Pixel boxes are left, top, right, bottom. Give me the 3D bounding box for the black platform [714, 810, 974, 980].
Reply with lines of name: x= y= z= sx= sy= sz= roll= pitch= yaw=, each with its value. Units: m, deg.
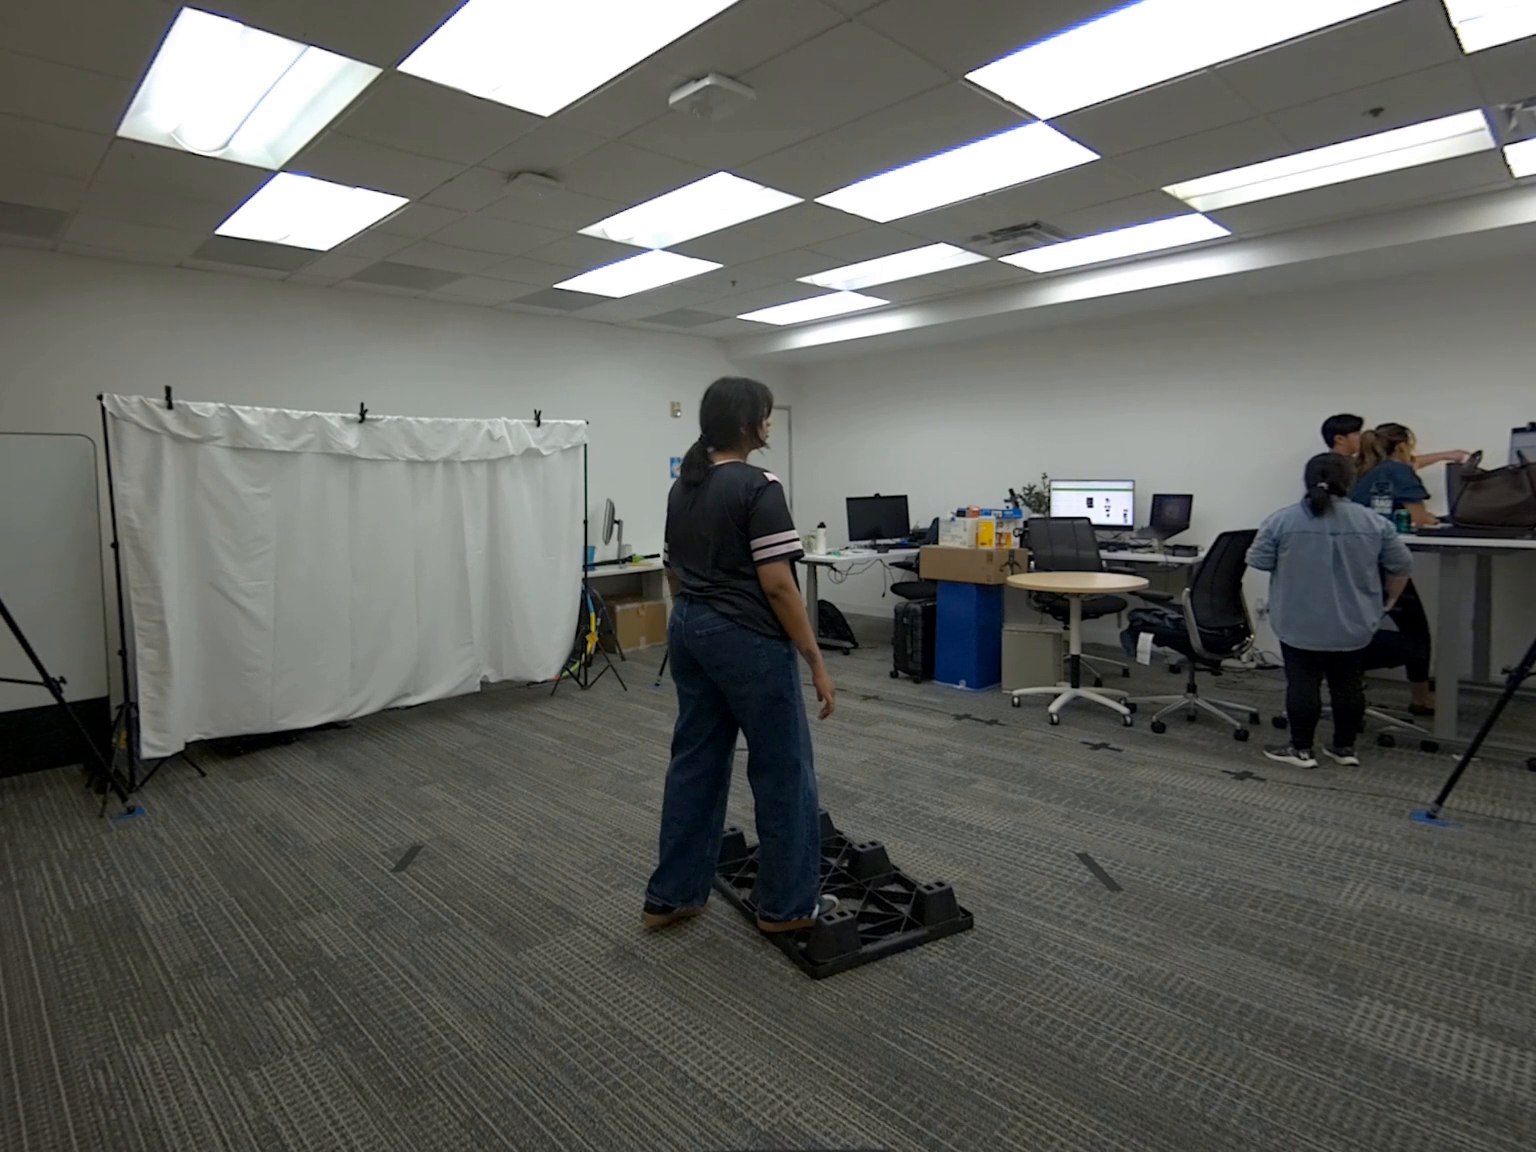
black platform: x=0.184 y=1.007 z=2.862 sx=0.591 sy=0.143 sz=0.828 roll=-4 pitch=7 yaw=-29
